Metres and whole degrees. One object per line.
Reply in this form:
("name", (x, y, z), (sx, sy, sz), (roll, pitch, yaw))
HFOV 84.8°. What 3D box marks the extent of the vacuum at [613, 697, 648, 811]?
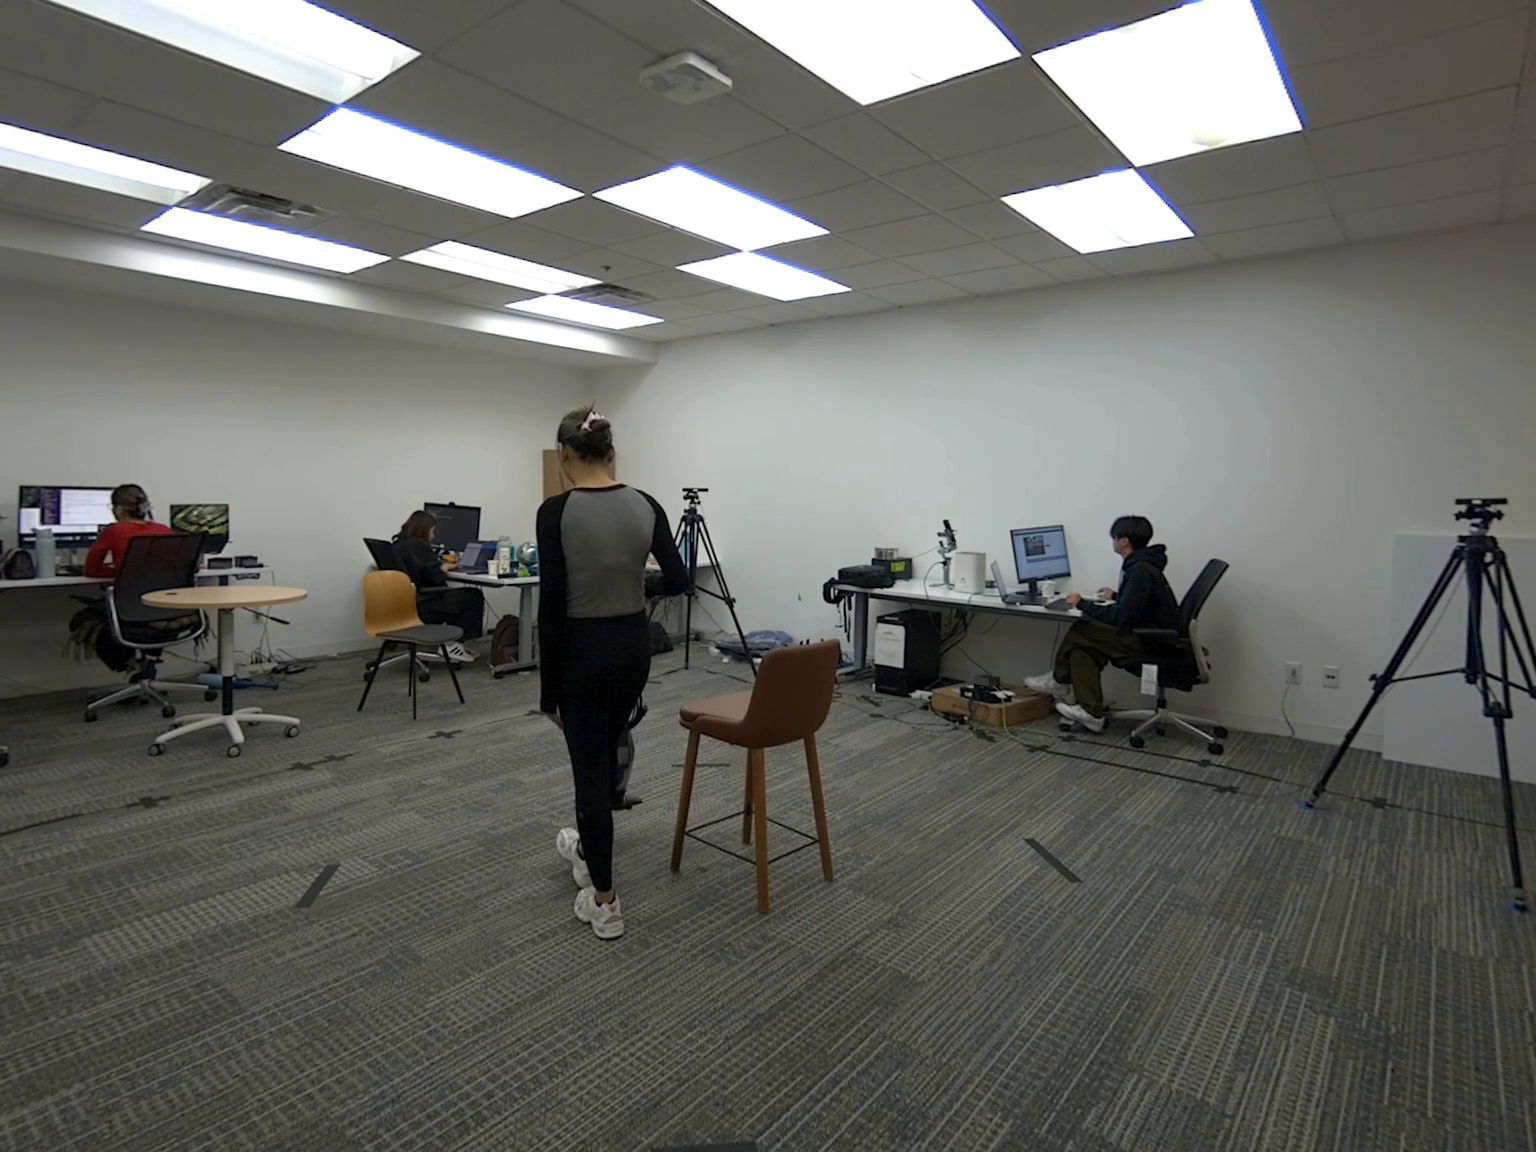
("vacuum", (-0.524, 0.462, 3.085), (0.248, 1.031, 0.149), (4, 31, -17))
